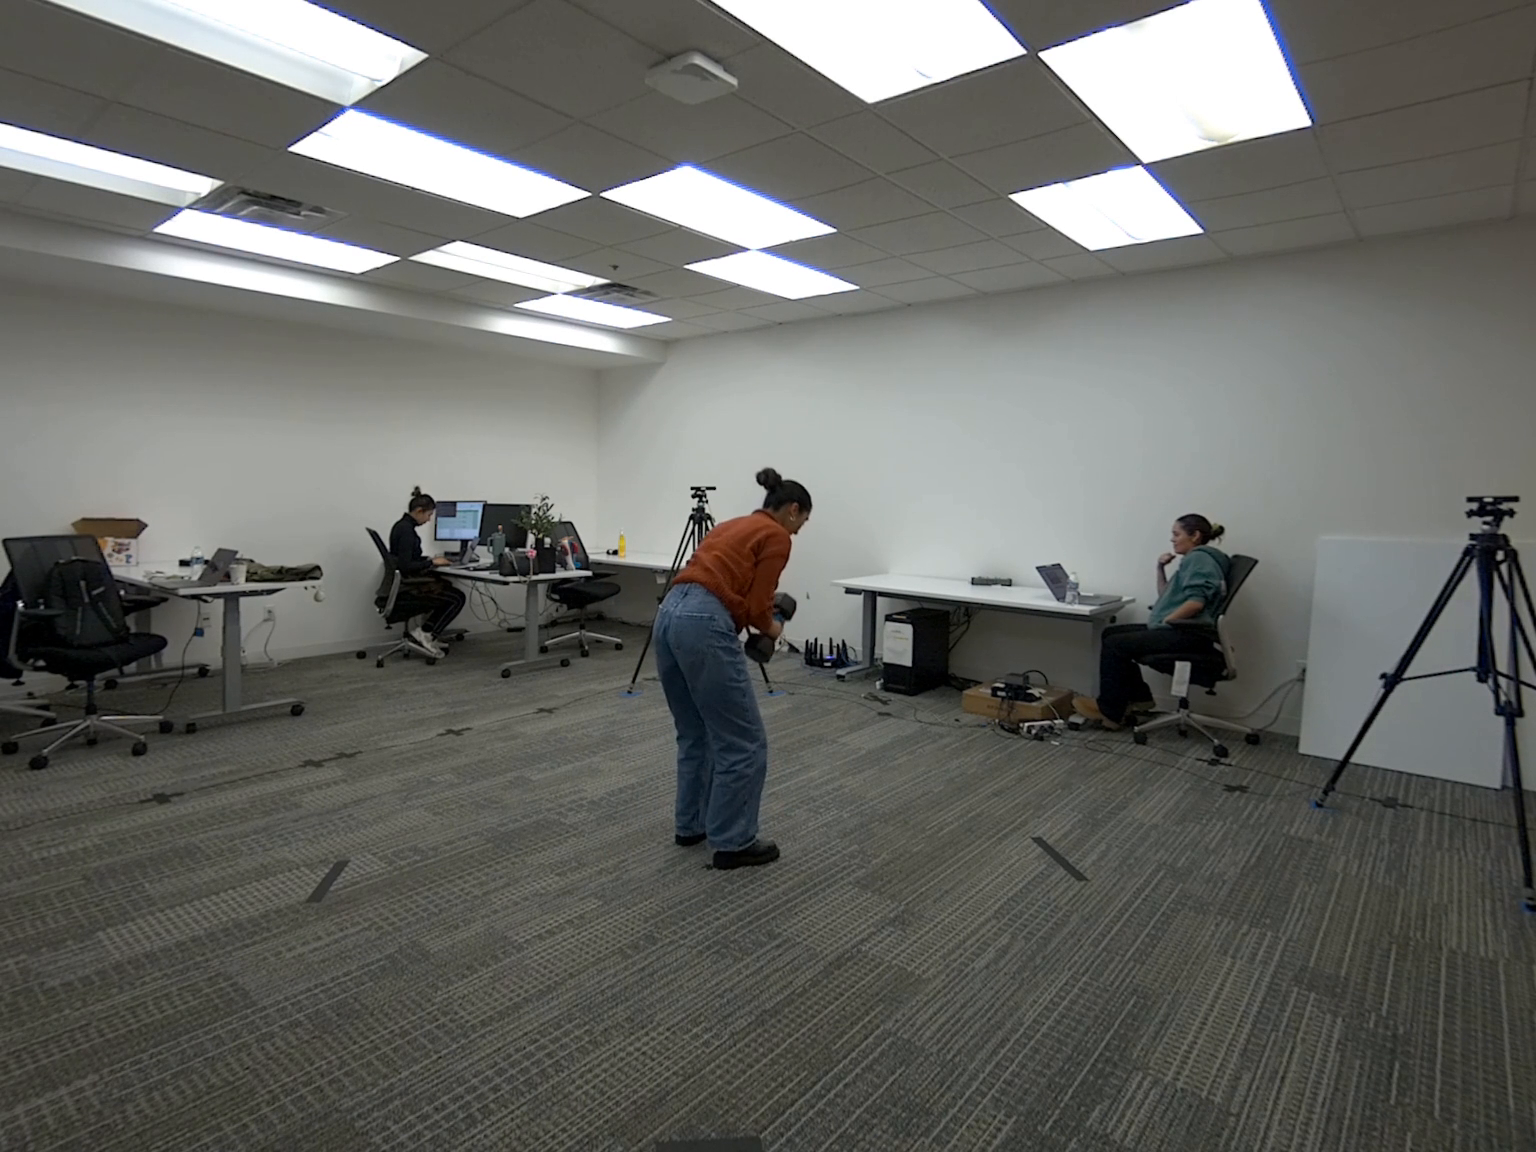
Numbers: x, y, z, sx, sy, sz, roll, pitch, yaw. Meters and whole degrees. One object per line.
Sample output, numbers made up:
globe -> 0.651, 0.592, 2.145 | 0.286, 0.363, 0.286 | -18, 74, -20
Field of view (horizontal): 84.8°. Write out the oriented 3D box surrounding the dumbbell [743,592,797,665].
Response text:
dumbbell -> -0.001, 0.212, 3.390 | 0.127, 0.296, 0.104 | -1, -42, 41
